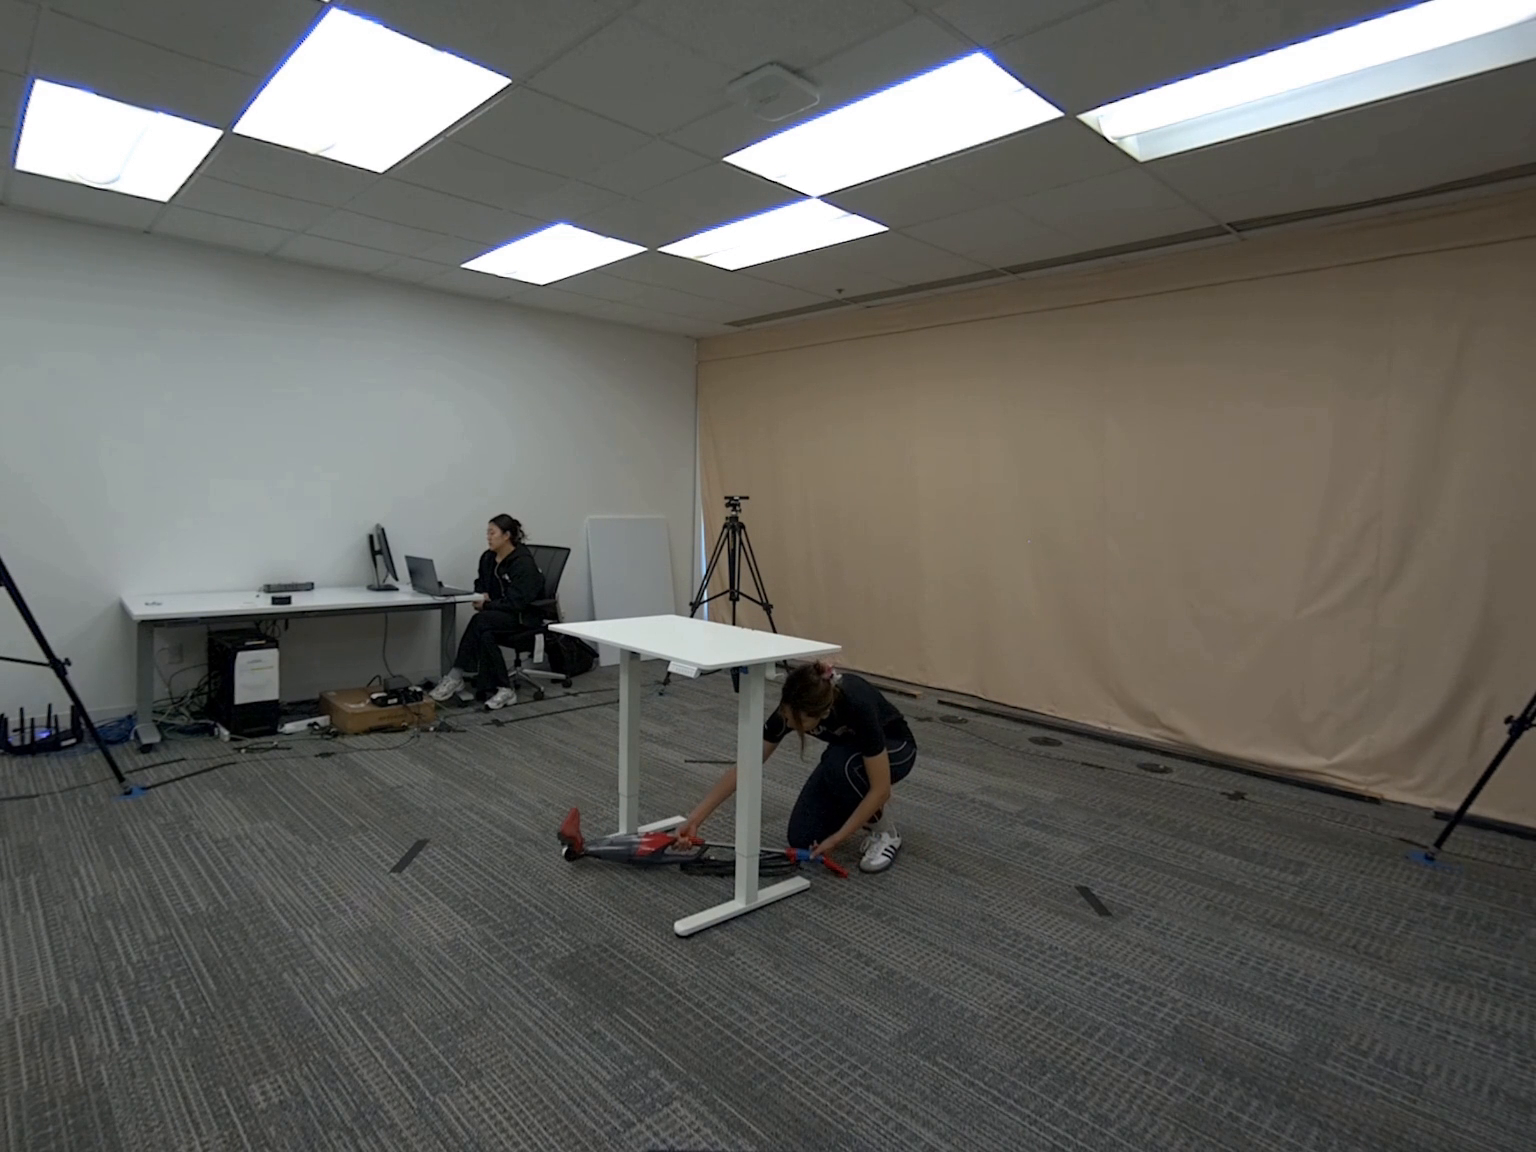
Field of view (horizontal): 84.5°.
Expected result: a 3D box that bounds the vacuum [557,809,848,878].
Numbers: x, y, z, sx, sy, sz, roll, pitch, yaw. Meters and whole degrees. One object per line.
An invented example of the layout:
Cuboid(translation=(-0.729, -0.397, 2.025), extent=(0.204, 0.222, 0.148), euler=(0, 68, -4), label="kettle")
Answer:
Cuboid(translation=(-0.231, 1.021, 3.126), extent=(1.051, 0.143, 0.253), euler=(6, 5, 2), label="vacuum")
